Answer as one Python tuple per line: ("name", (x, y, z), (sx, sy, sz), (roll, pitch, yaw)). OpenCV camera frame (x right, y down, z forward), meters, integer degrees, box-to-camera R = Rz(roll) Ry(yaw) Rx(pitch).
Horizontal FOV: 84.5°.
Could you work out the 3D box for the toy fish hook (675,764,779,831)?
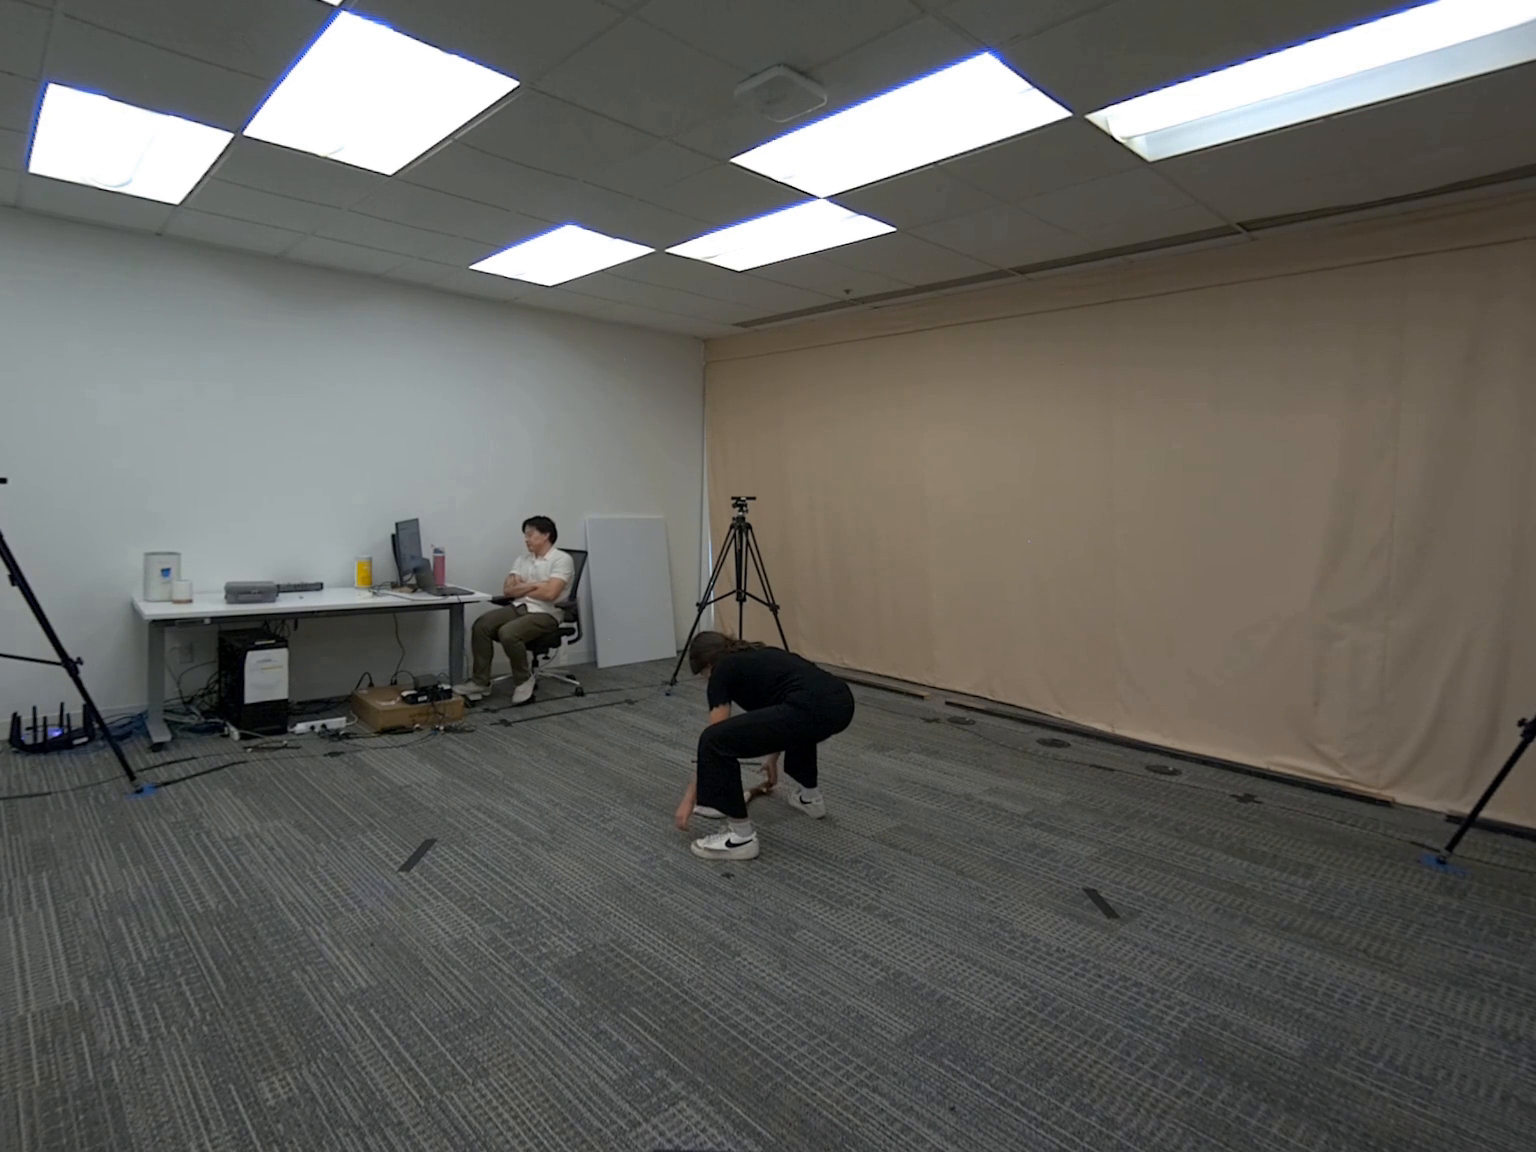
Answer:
("toy fish hook", (-0.175, 1.016, 3.882), (0.230, 0.048, 0.496), (8, 7, 32))
